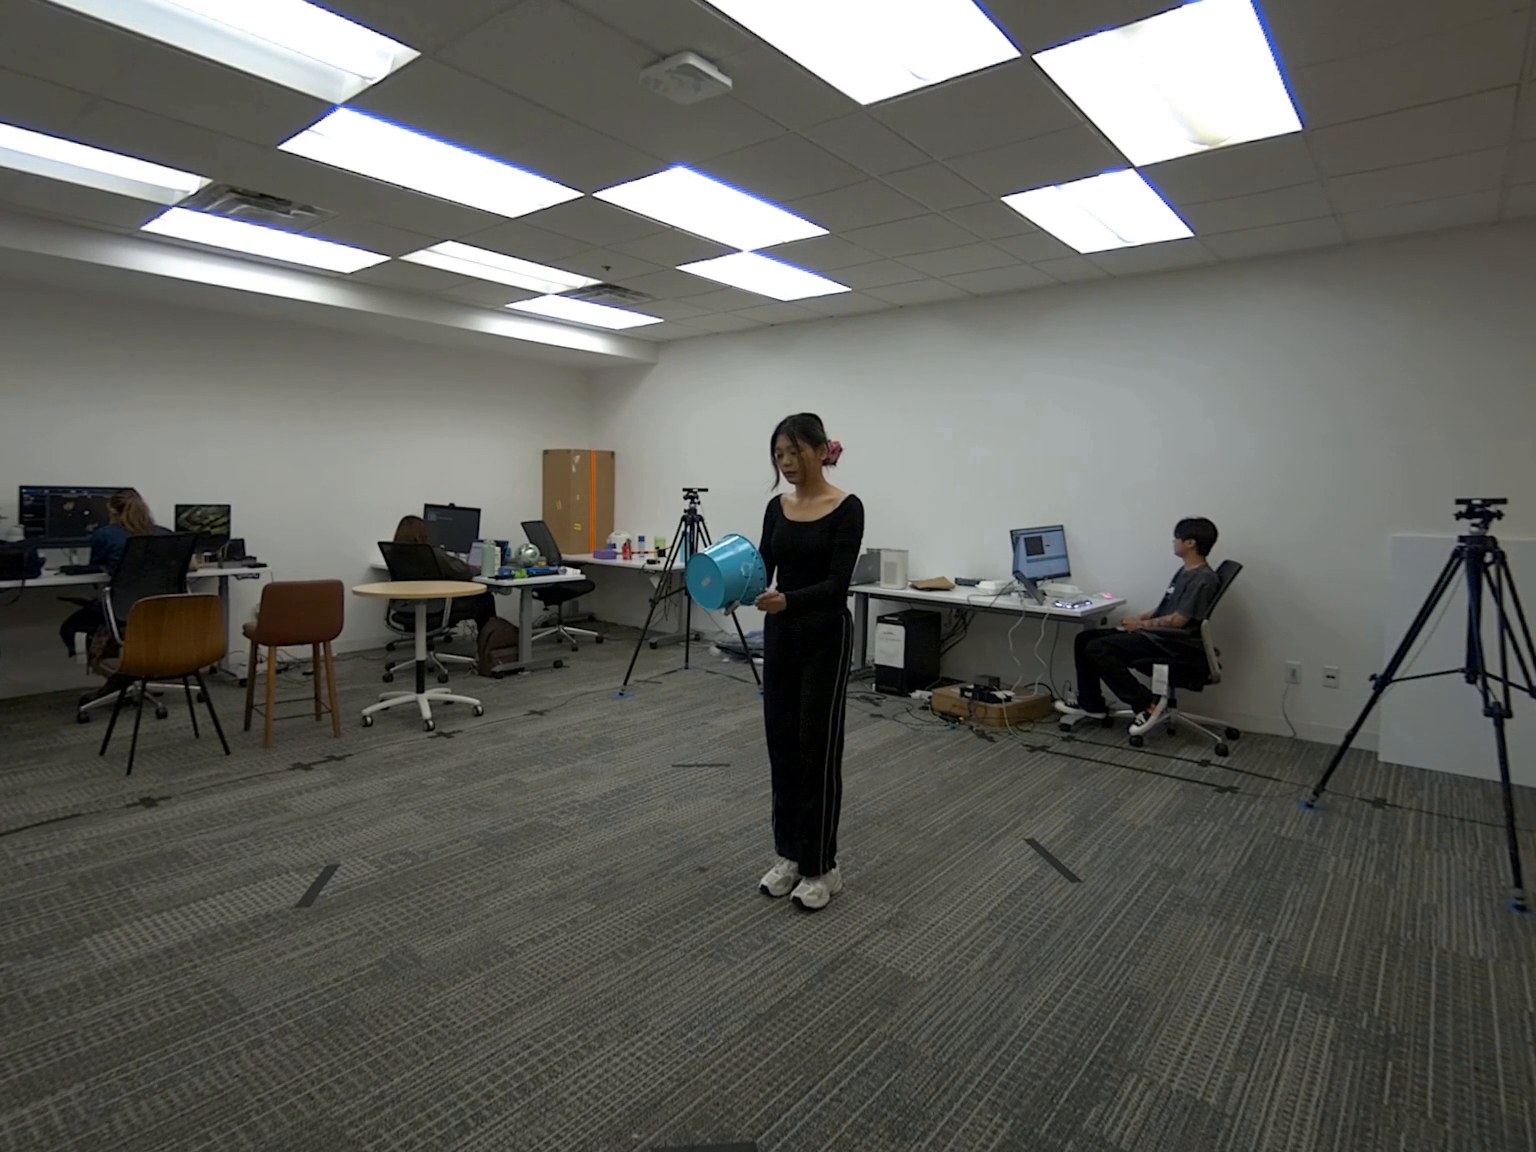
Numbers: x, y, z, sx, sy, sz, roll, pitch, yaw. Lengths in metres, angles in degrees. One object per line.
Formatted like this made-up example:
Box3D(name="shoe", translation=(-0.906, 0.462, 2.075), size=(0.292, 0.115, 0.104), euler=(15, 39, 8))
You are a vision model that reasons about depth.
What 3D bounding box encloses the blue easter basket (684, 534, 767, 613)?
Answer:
Box3D(name="blue easter basket", translation=(-0.154, 0.006, 2.627), size=(0.152, 0.240, 0.252), euler=(-19, 16, -41))
